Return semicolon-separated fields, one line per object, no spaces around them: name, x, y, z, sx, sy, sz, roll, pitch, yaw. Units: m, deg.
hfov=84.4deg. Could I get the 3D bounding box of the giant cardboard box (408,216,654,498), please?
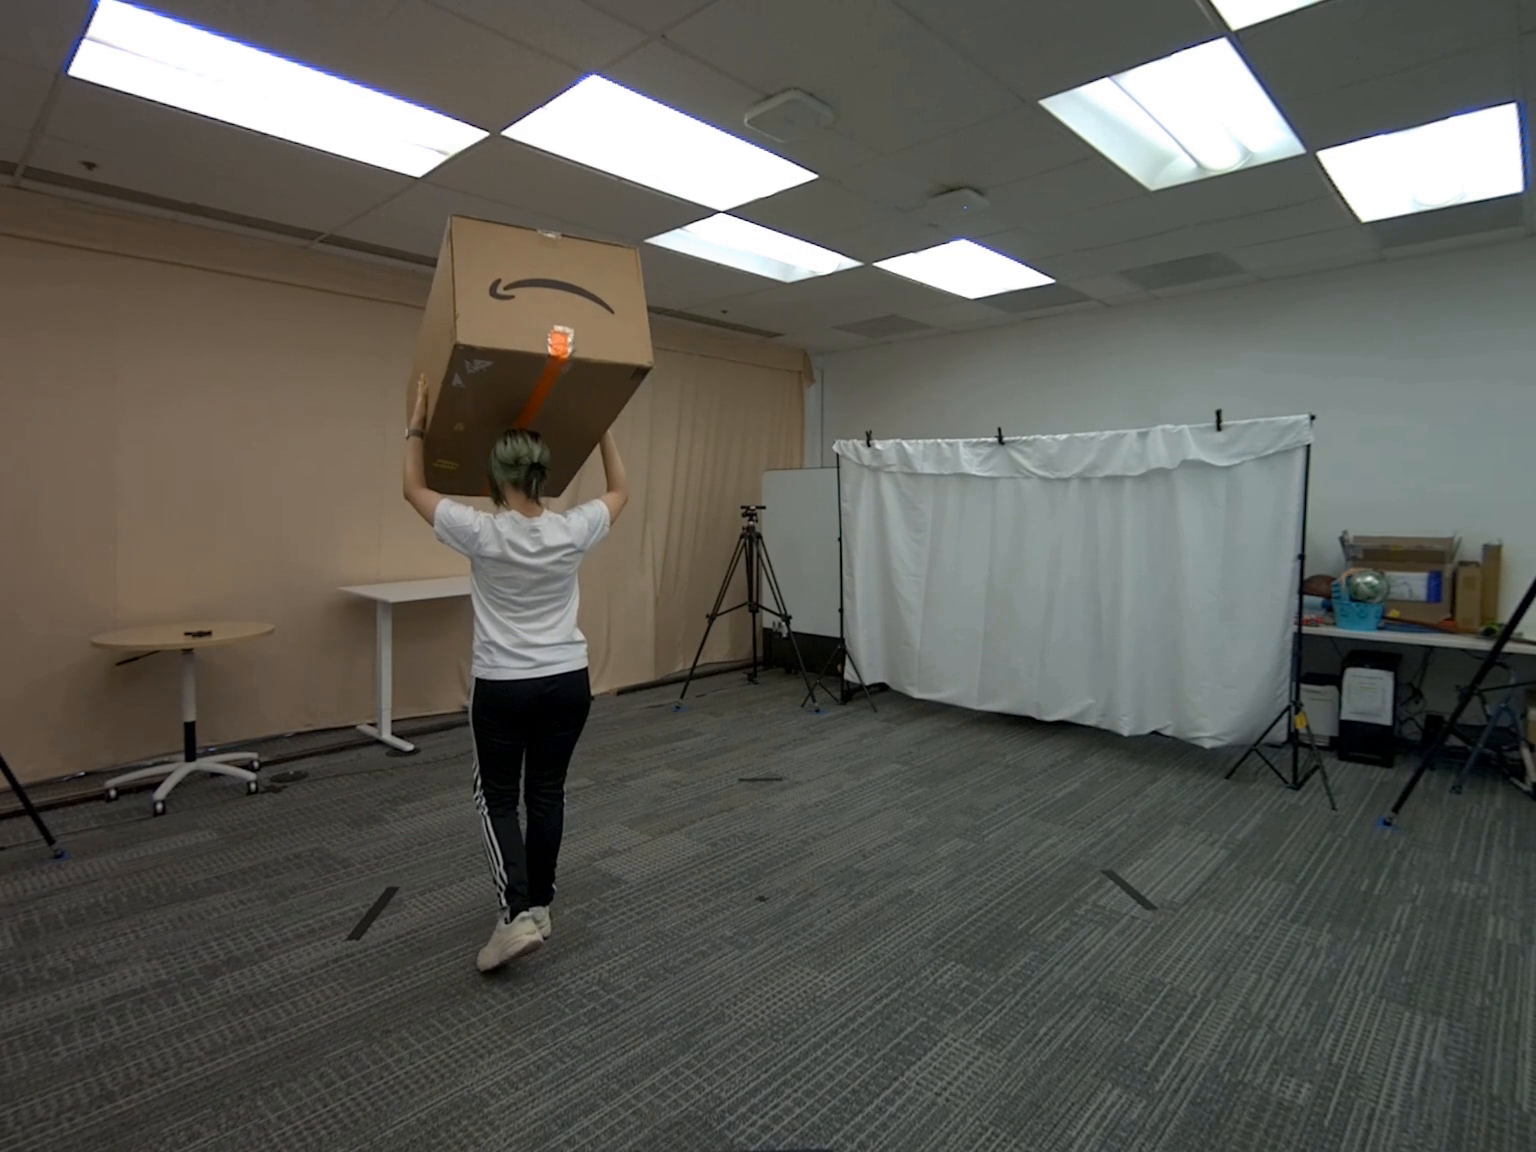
giant cardboard box;-0.861;-0.657;2.858;0.569;0.453;1.041;-1;-18;-29
